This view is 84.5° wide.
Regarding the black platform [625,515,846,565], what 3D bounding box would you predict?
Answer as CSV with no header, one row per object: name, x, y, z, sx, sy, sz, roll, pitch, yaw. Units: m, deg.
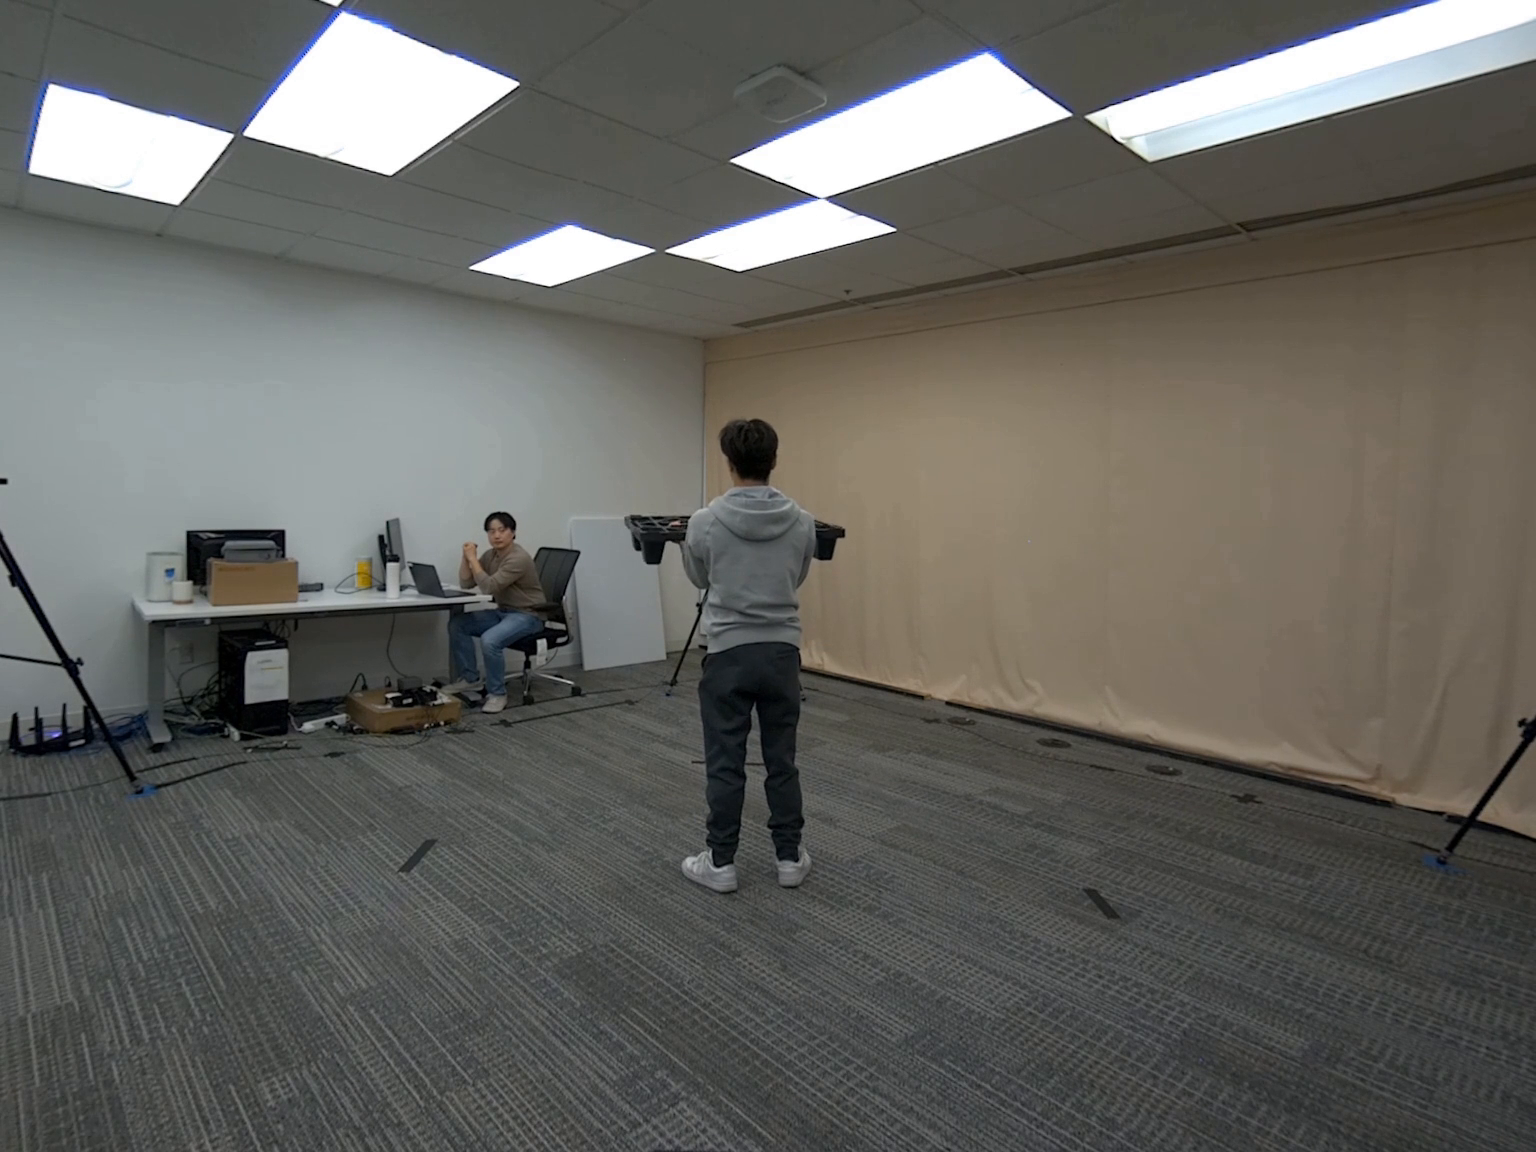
black platform,-0.172,-0.155,3.455,0.798,0.142,0.614,-2,9,-13
